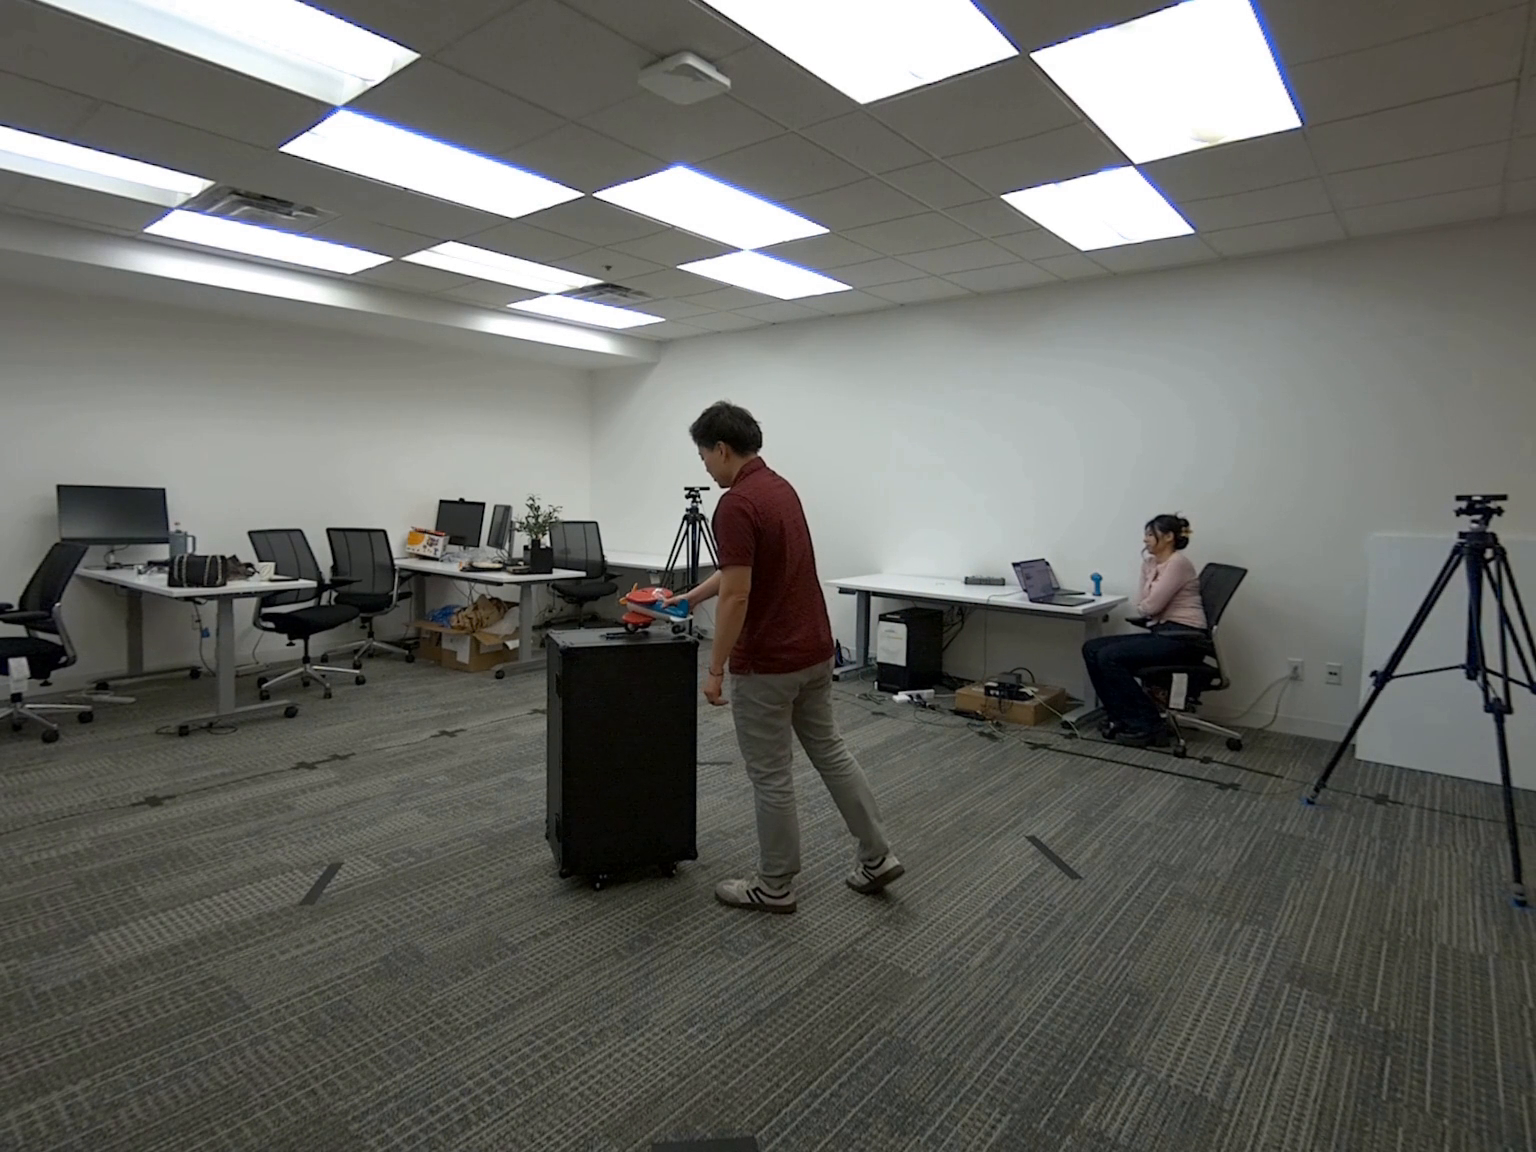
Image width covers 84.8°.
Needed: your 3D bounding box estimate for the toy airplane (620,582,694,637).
[{"bbox_3d":[-0.413,0.121,3.153,0.258,0.156,0.253,-2,6,-4],"label":"toy airplane"}]
